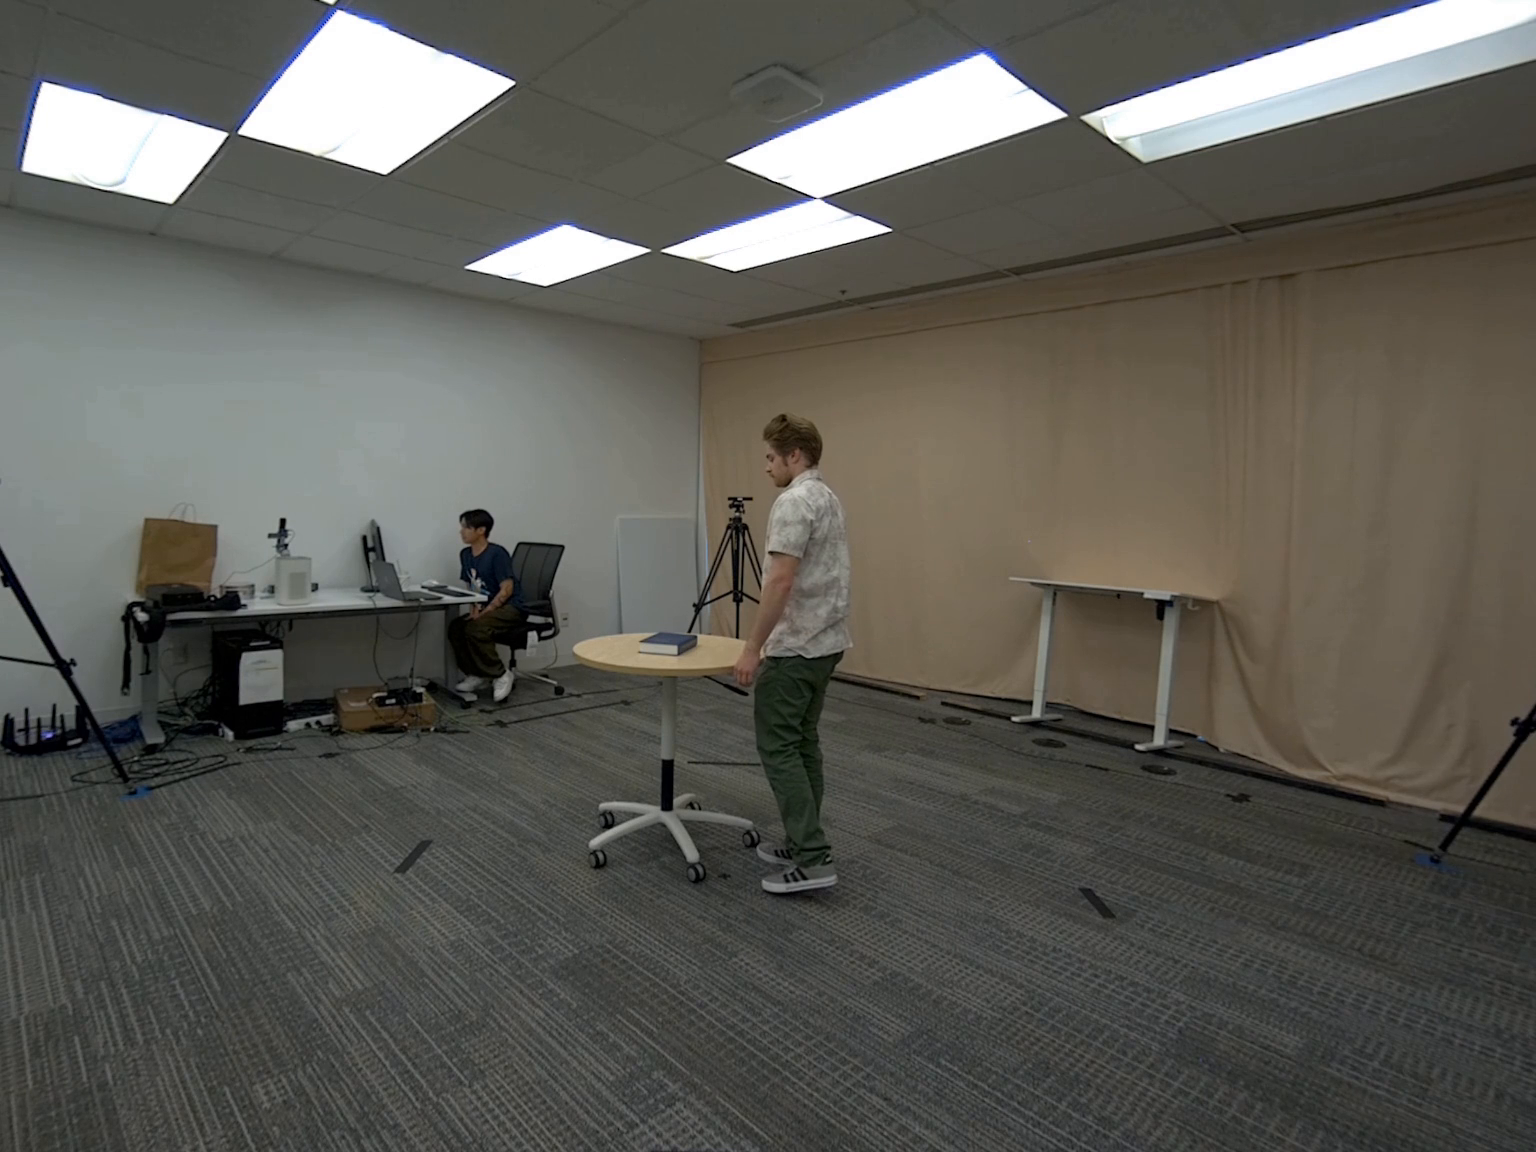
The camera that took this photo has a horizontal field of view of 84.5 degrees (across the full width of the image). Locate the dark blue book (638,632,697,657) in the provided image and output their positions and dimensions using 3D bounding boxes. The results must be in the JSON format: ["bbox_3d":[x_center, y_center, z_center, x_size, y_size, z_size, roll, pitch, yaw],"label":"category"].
[{"bbox_3d":[-0.400,0.264,3.338,0.165,0.045,0.243,2,5,13],"label":"dark blue book"}]
